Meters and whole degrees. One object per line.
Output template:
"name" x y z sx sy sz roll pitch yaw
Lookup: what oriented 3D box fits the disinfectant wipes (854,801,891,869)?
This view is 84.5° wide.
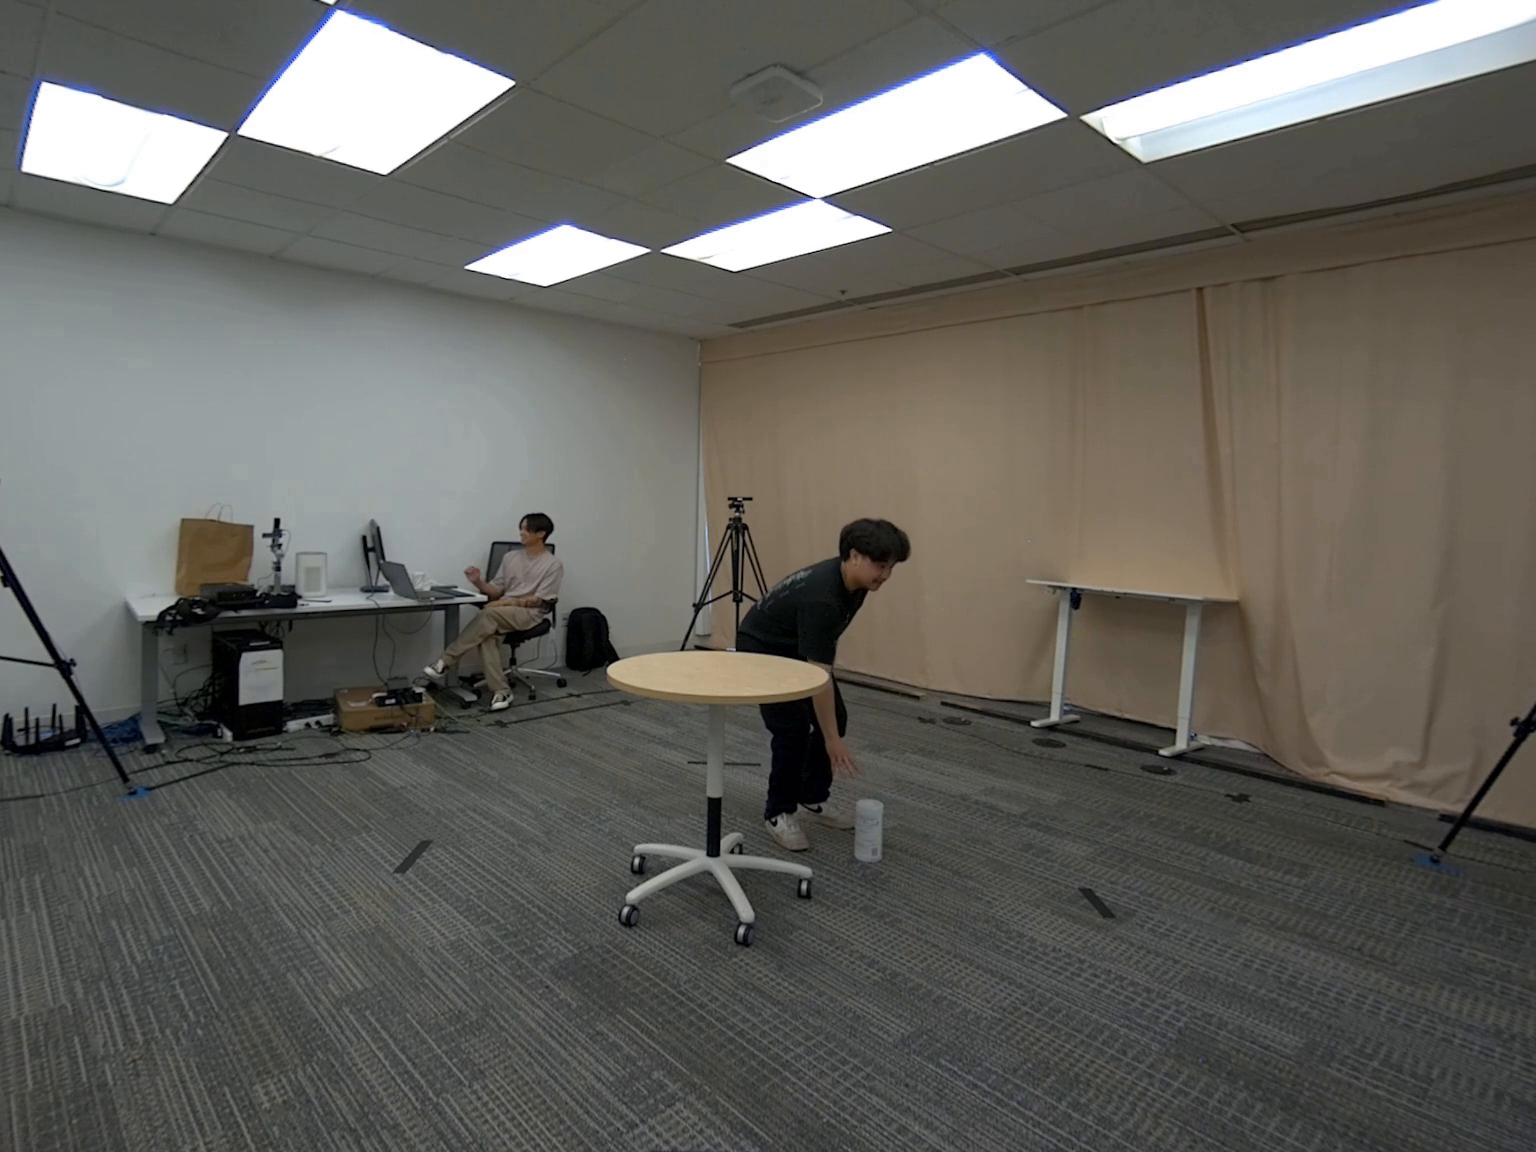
"disinfectant wipes" 0.402 1.004 3.290 0.118 0.217 0.118 1 1 -1
